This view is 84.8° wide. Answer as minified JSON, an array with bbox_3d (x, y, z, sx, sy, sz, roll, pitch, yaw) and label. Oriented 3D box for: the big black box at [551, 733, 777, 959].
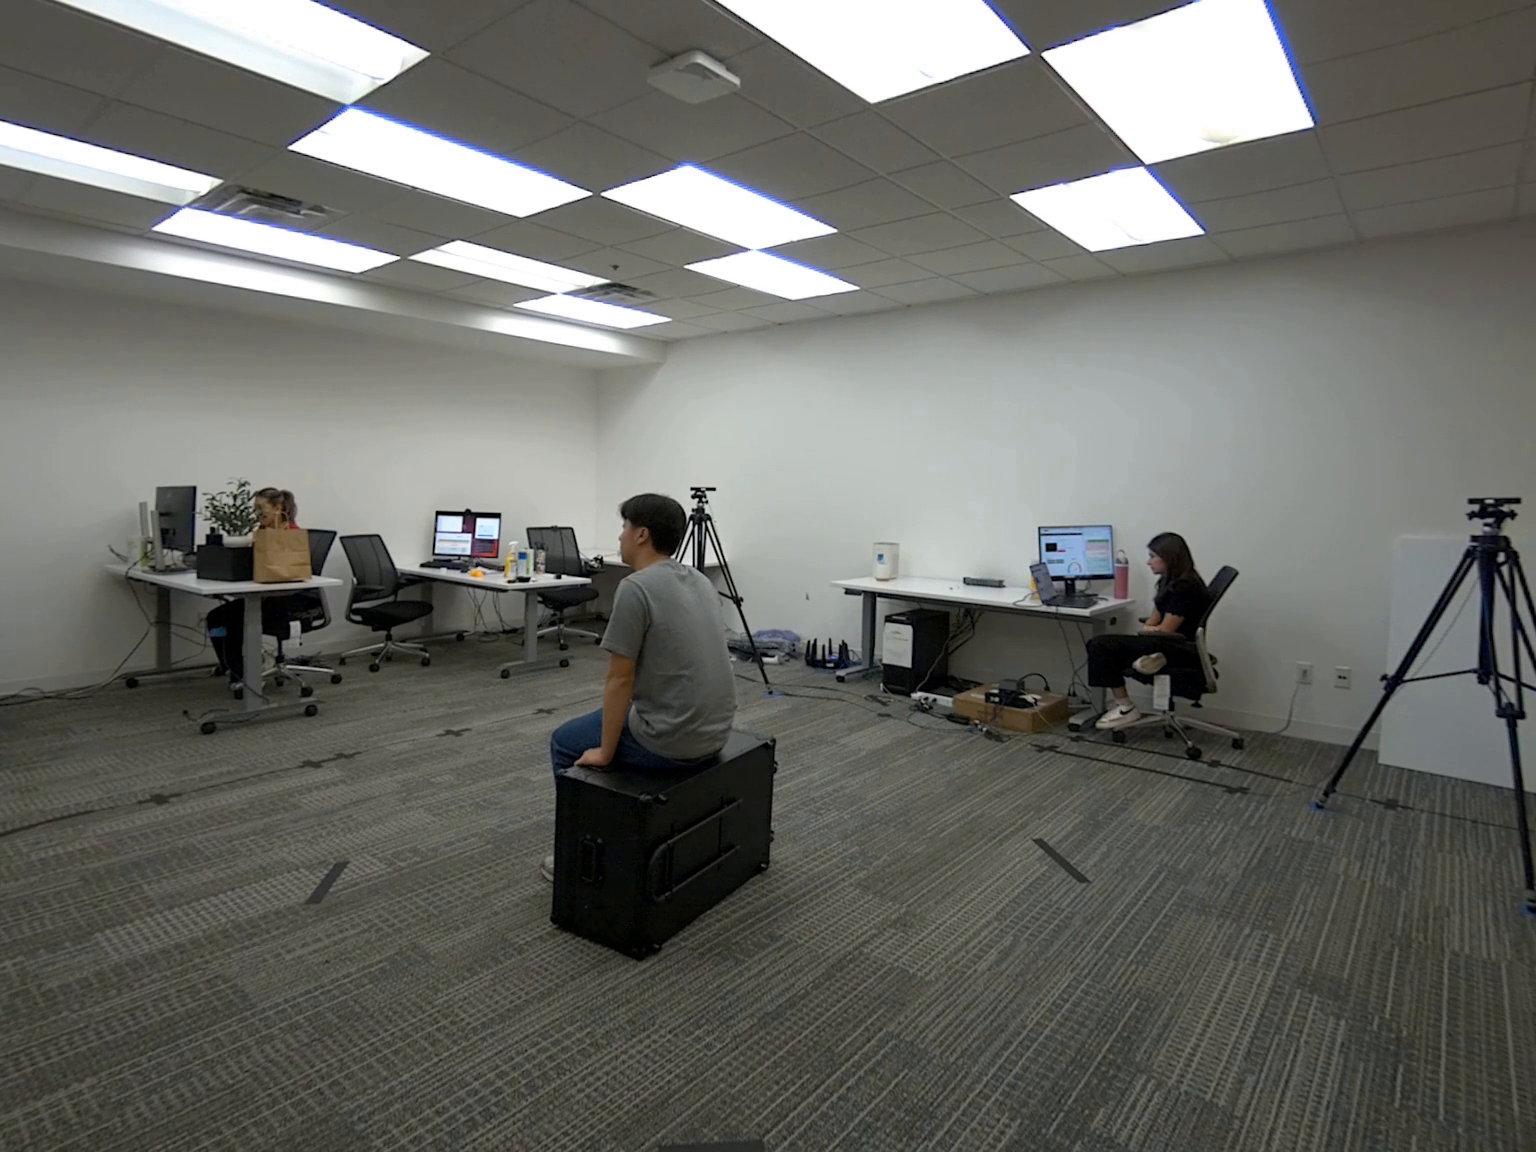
[{"bbox_3d":[-0.308,0.832,2.908,0.408,0.519,0.840,5,6,29],"label":"big black box"}]
